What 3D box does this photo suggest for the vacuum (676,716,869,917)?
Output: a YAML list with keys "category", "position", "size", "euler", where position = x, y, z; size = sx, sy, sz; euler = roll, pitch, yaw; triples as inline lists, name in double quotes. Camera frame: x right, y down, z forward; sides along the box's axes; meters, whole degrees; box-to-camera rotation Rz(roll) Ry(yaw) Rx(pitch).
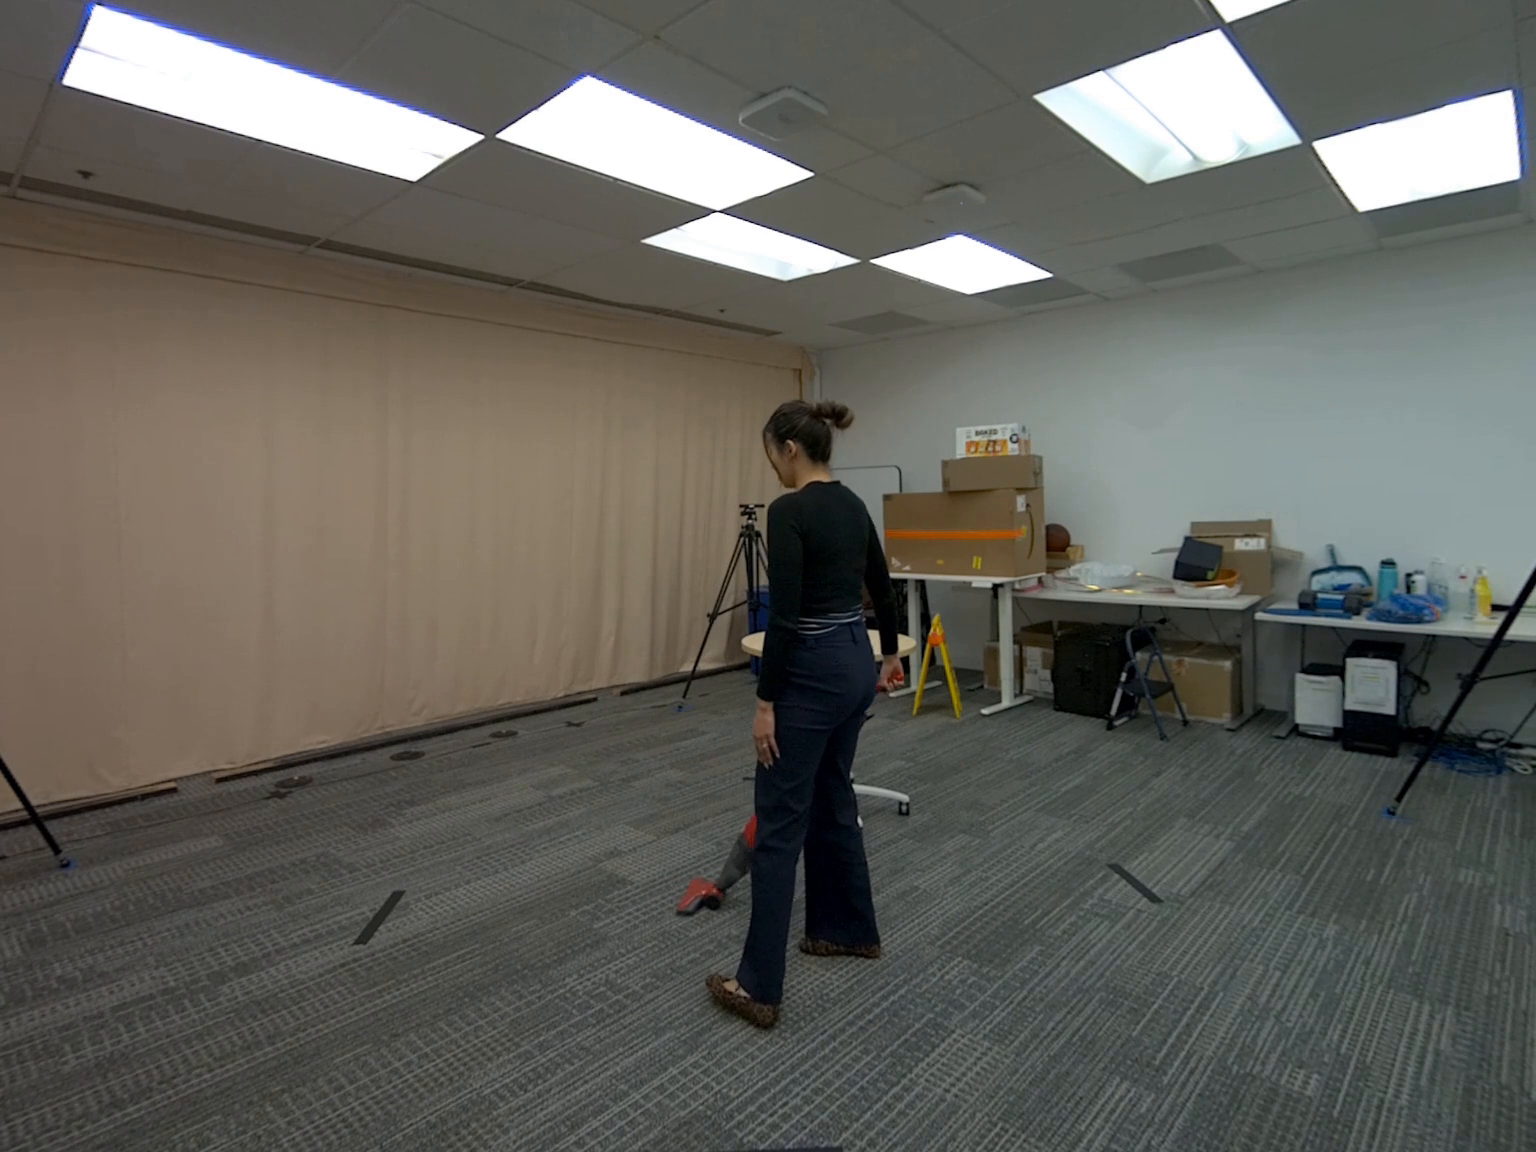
- category: "vacuum"
  position: [0.085, 0.735, 2.883]
  size: [0.146, 1.051, 0.249]
  euler: [40, 10, 8]
